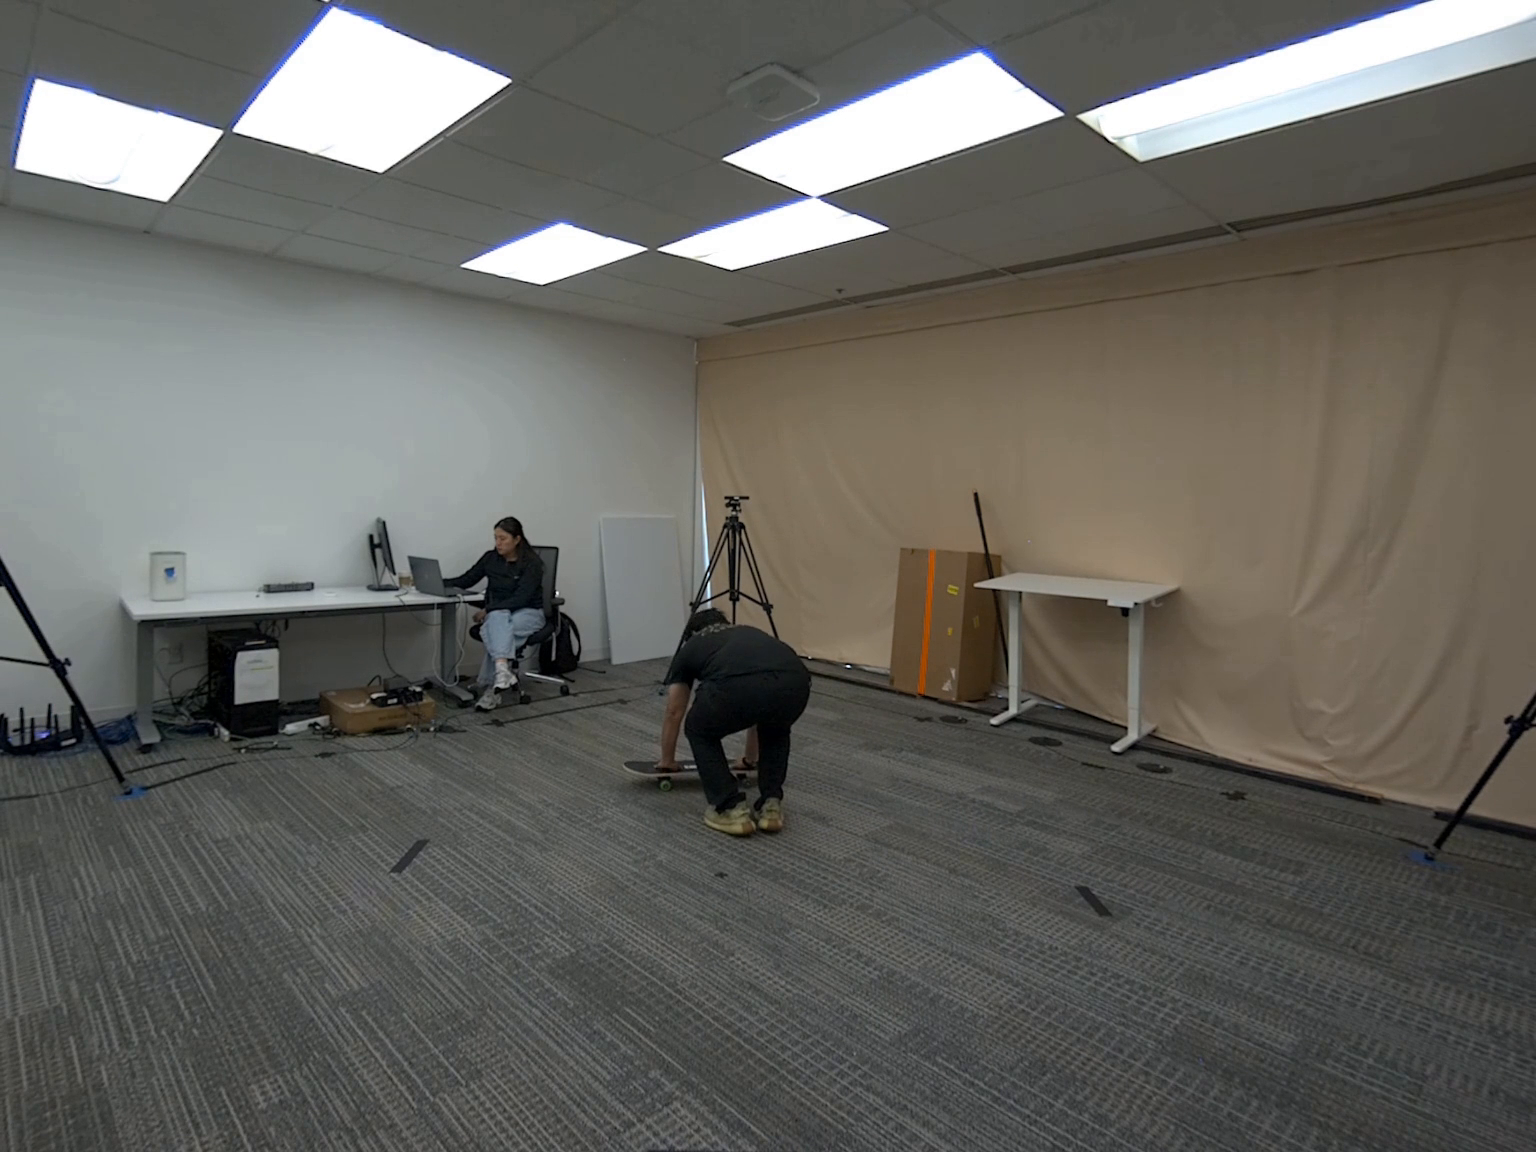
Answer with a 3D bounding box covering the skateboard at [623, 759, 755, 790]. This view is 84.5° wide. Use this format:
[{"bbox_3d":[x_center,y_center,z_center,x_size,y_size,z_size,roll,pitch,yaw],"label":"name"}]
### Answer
[{"bbox_3d":[-0.325,0.953,4.096,0.778,0.110,0.195,0,4,-11],"label":"skateboard"}]
